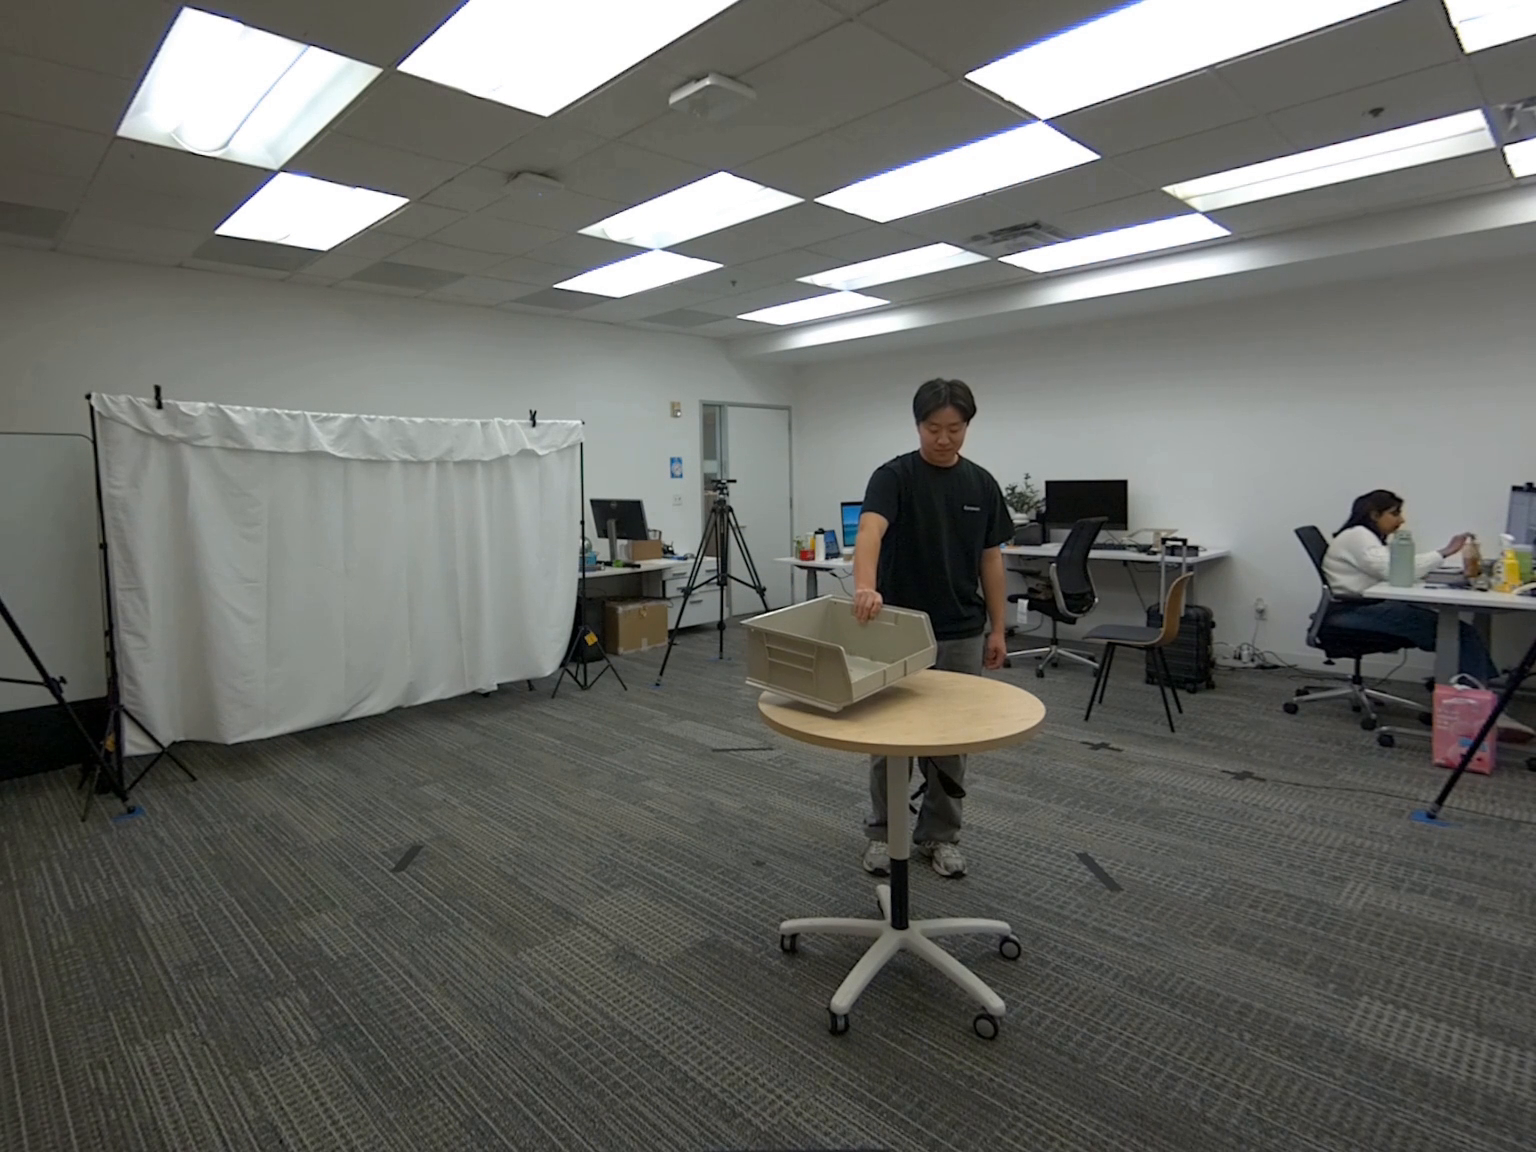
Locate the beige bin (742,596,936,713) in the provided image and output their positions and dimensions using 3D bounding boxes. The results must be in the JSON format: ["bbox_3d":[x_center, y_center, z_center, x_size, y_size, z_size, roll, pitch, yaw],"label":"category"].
[{"bbox_3d":[0.207,0.207,2.398,0.390,0.187,0.413,9,15,42],"label":"beige bin"}]
